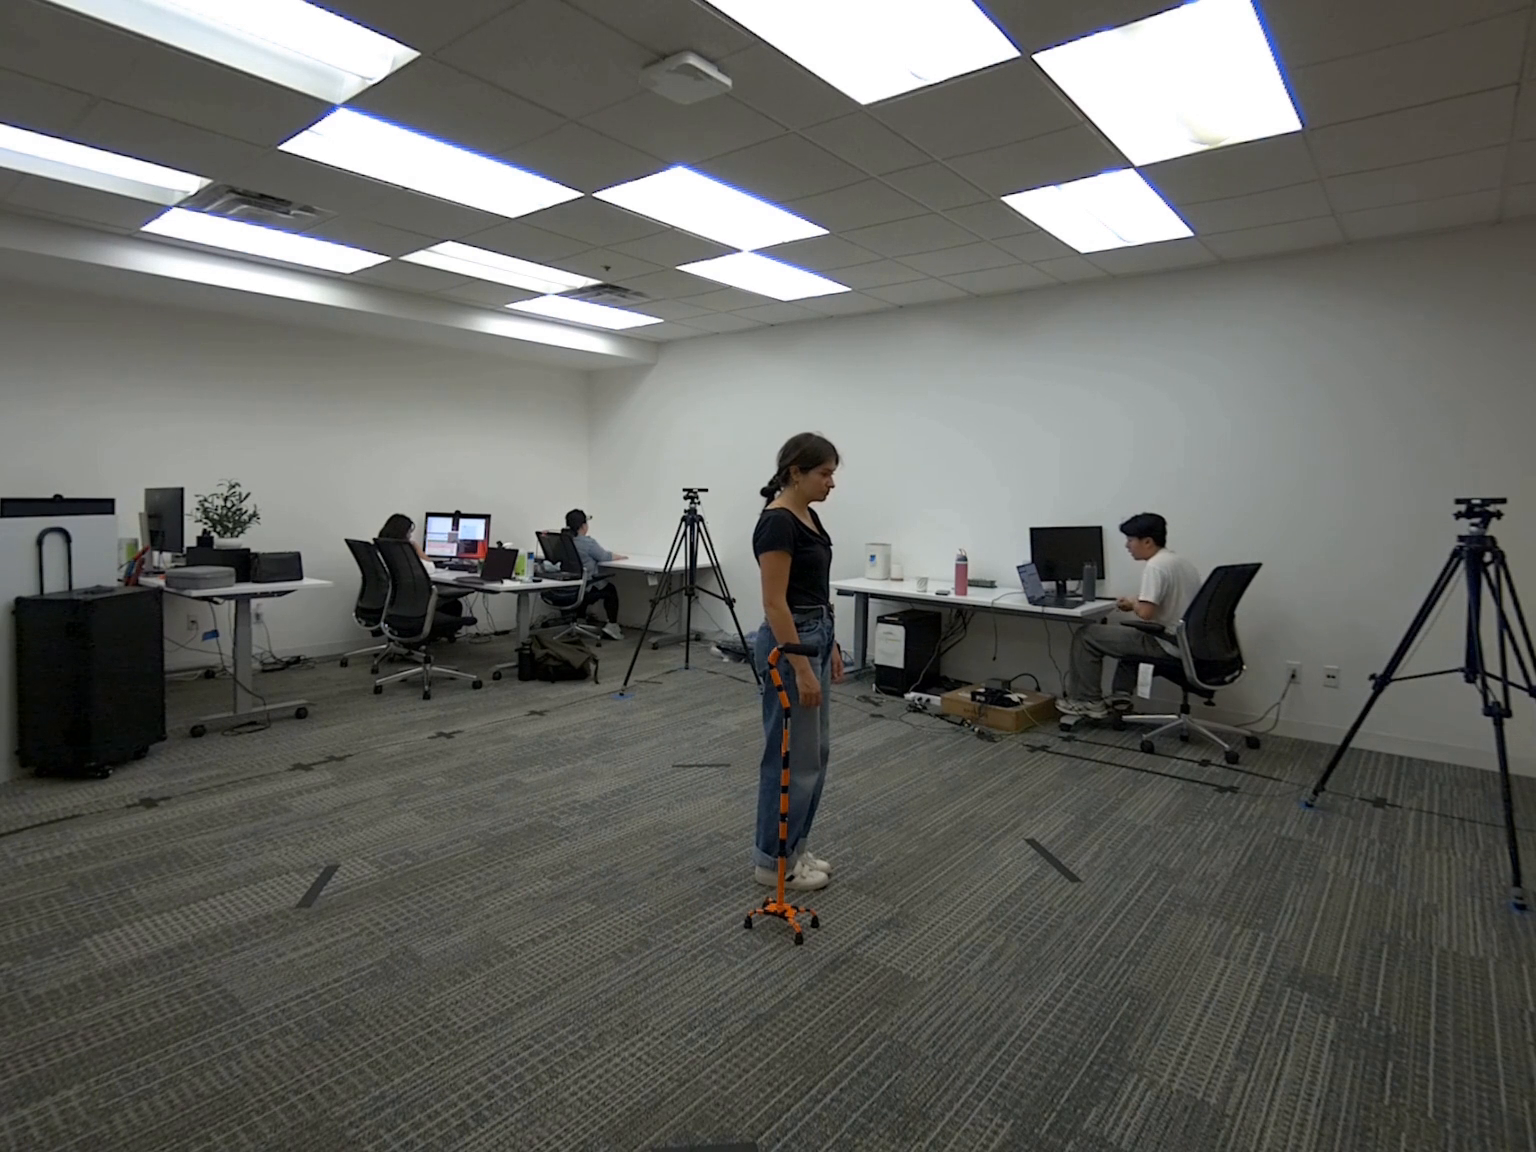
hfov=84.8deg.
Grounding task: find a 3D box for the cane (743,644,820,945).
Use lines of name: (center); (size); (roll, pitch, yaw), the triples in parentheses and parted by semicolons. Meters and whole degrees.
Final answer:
cane: (0.062, 0.659, 2.689); (0.212, 0.906, 0.148); (4, 2, 25)
